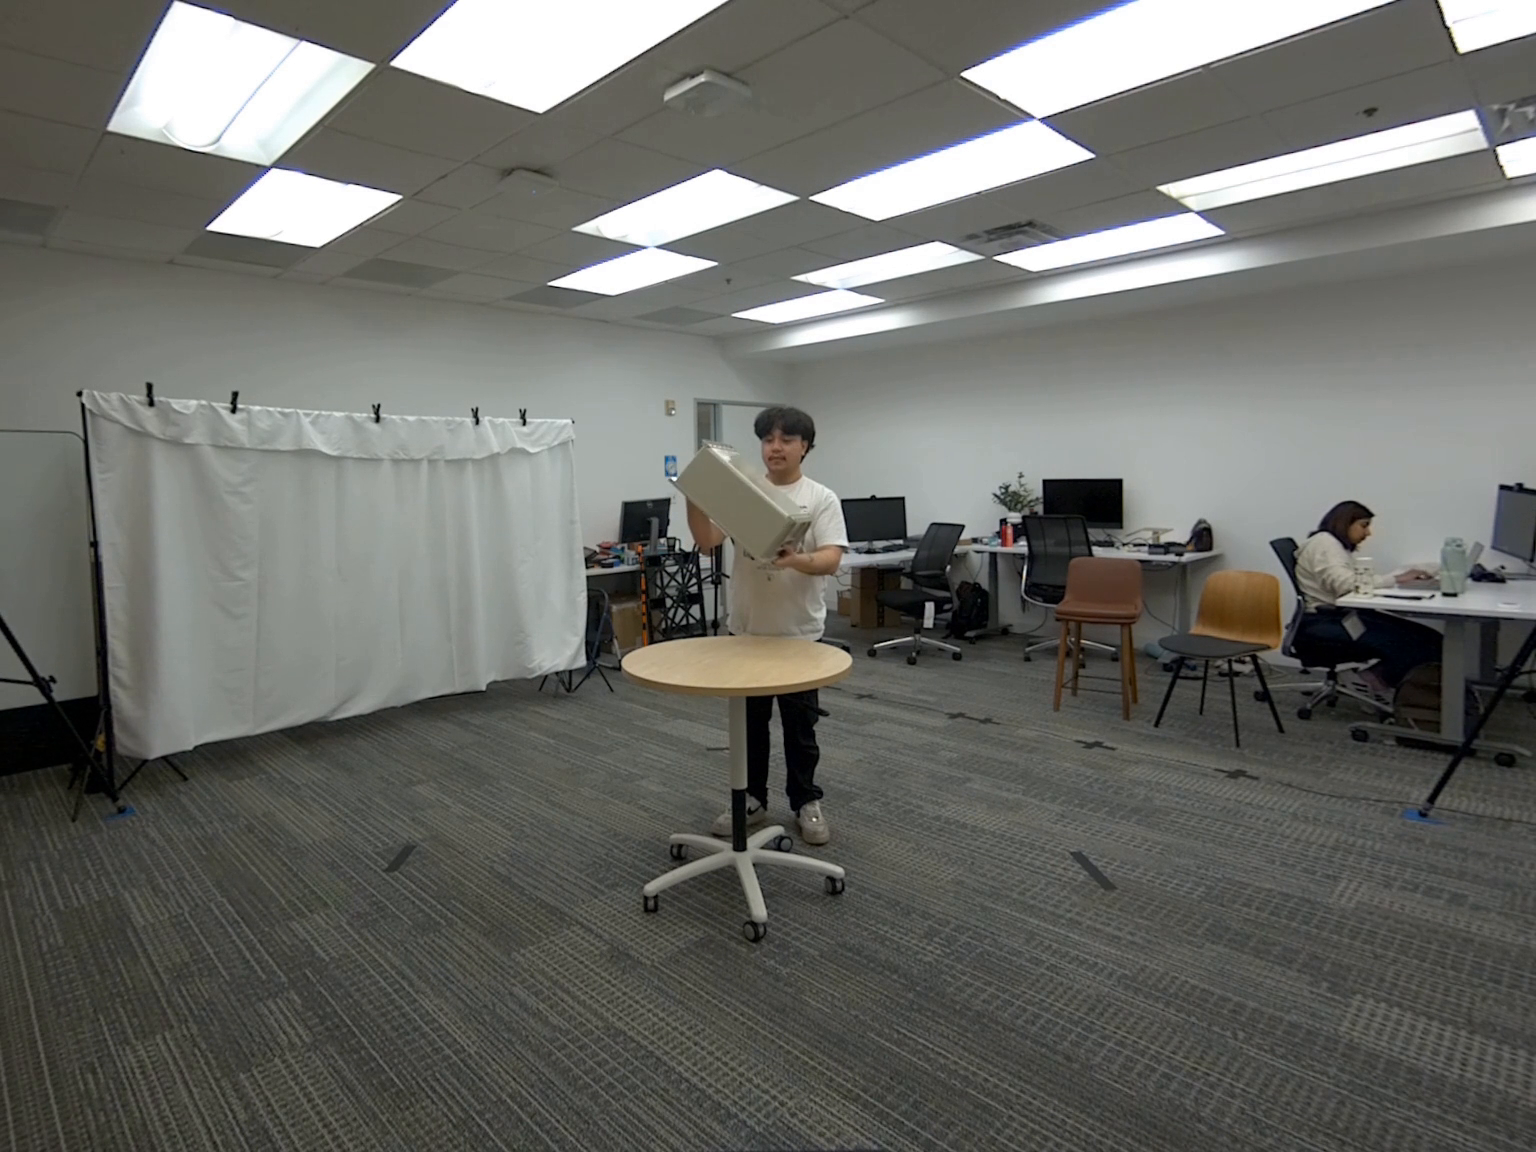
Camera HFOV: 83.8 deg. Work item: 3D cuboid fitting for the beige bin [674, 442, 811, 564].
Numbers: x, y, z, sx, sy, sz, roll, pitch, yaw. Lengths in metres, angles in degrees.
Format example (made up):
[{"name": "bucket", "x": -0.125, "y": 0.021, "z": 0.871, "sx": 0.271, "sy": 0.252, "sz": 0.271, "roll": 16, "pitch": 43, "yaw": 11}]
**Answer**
[{"name": "beige bin", "x": -0.072, "y": -0.256, "z": 2.945, "sx": 0.428, "sy": 0.189, "sz": 0.373, "roll": 43, "pitch": 13, "yaw": 9}]
